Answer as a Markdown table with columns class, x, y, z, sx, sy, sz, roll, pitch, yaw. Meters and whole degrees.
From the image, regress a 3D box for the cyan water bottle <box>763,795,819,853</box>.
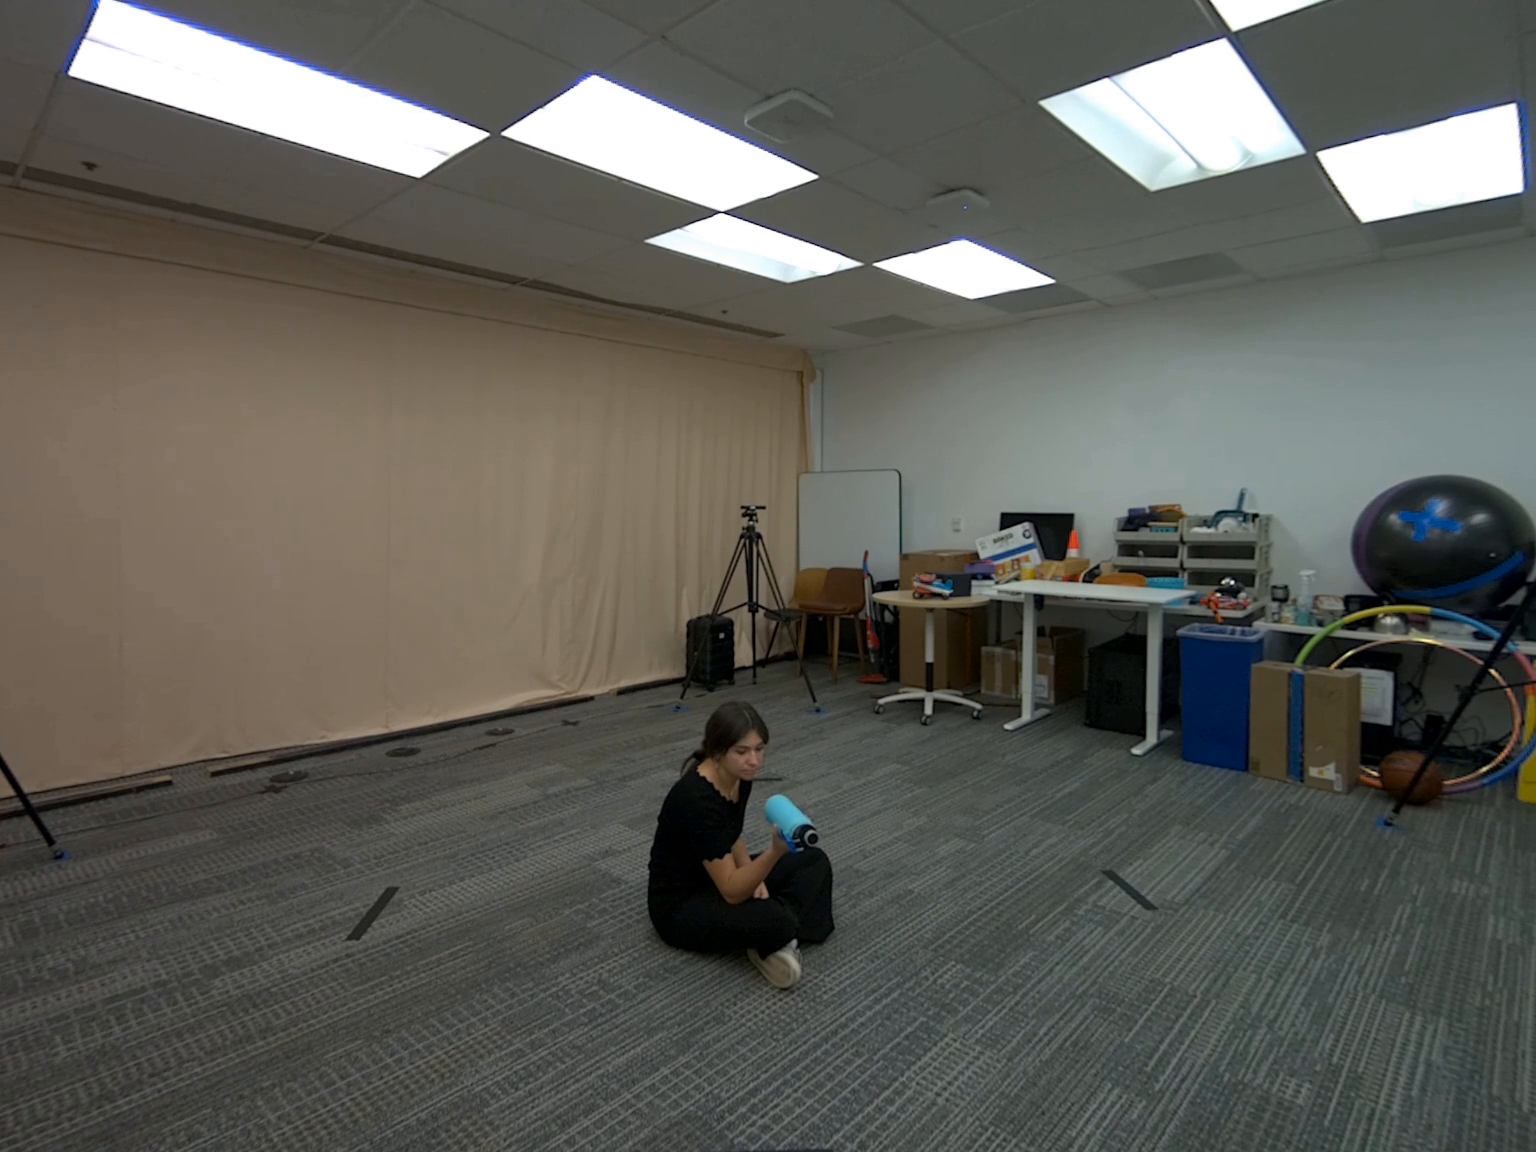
| class | x | y | z | sx | sy | sz | roll | pitch | yaw |
| --- | --- | --- | --- | --- | --- | --- | --- | --- | --- |
| cyan water bottle | 0.073 | 0.712 | 2.403 | 0.091 | 0.092 | 0.288 | -1 | 3 | -17 |
